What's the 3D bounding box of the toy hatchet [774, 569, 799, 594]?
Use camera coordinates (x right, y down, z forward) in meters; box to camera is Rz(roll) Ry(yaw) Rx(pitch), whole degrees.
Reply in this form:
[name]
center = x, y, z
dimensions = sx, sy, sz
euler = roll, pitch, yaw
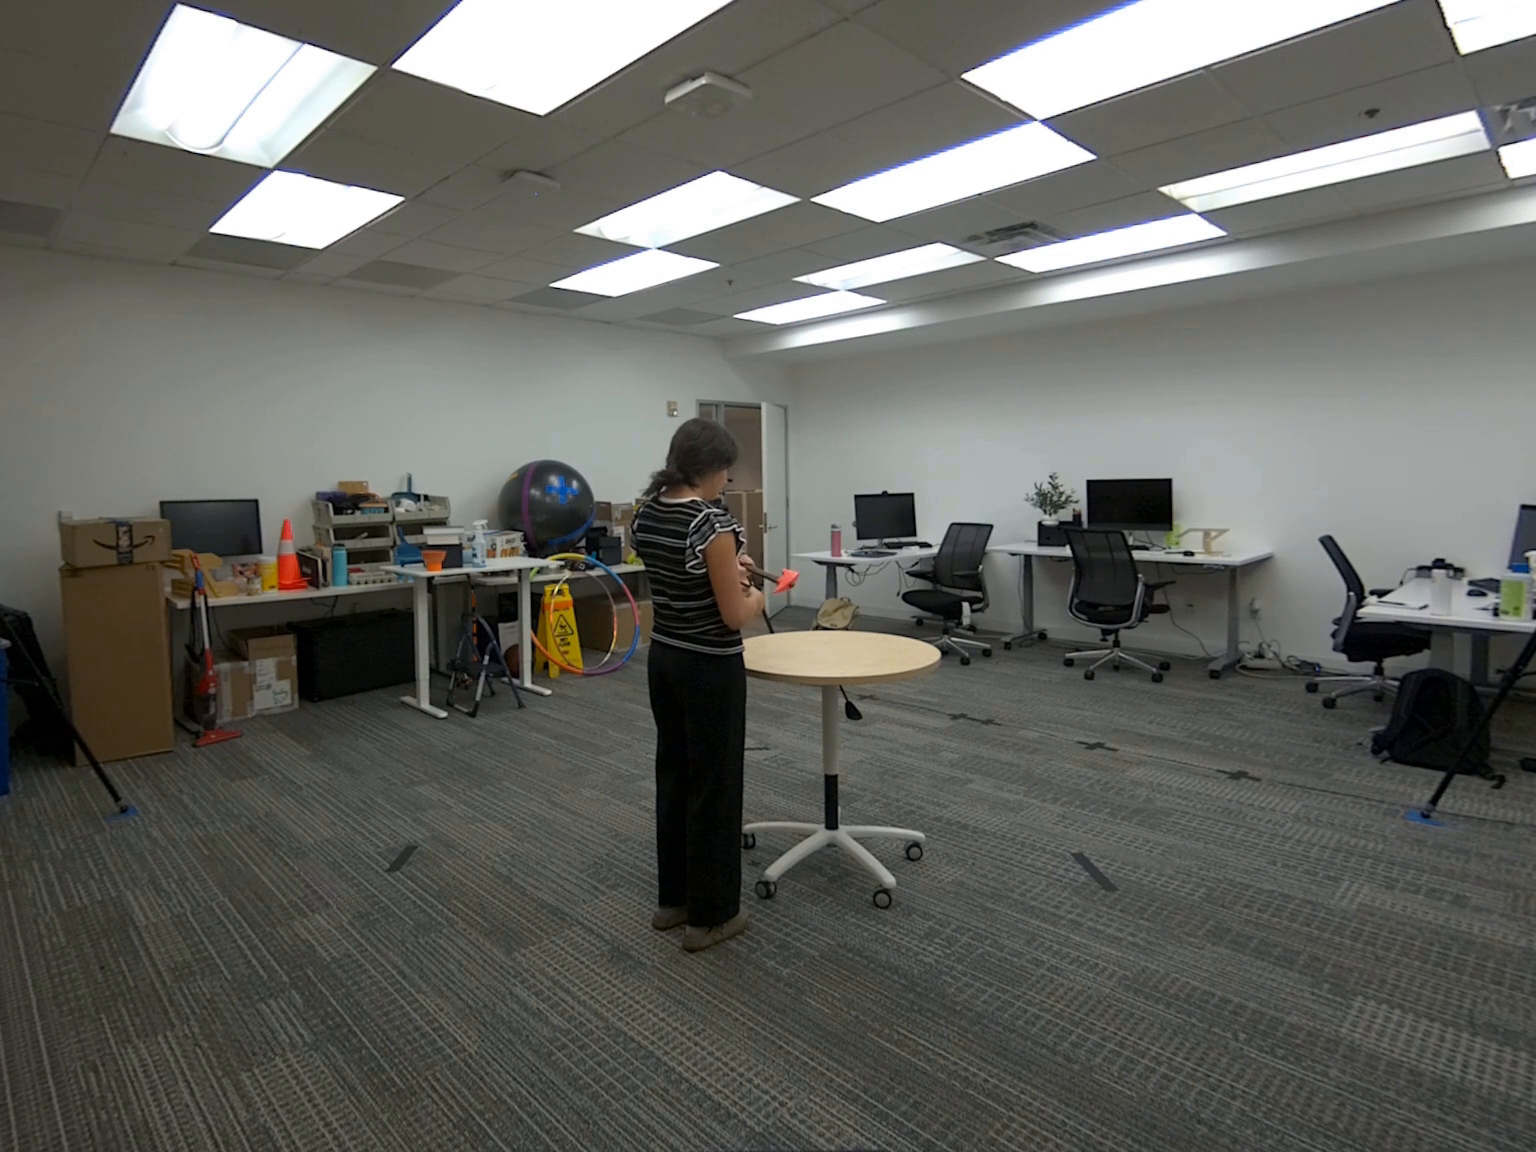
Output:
[toy hatchet]
center = -0.021, -0.021, 2.880
dimensions = 0.129, 0.029, 0.281
euler = -22, 40, -28
